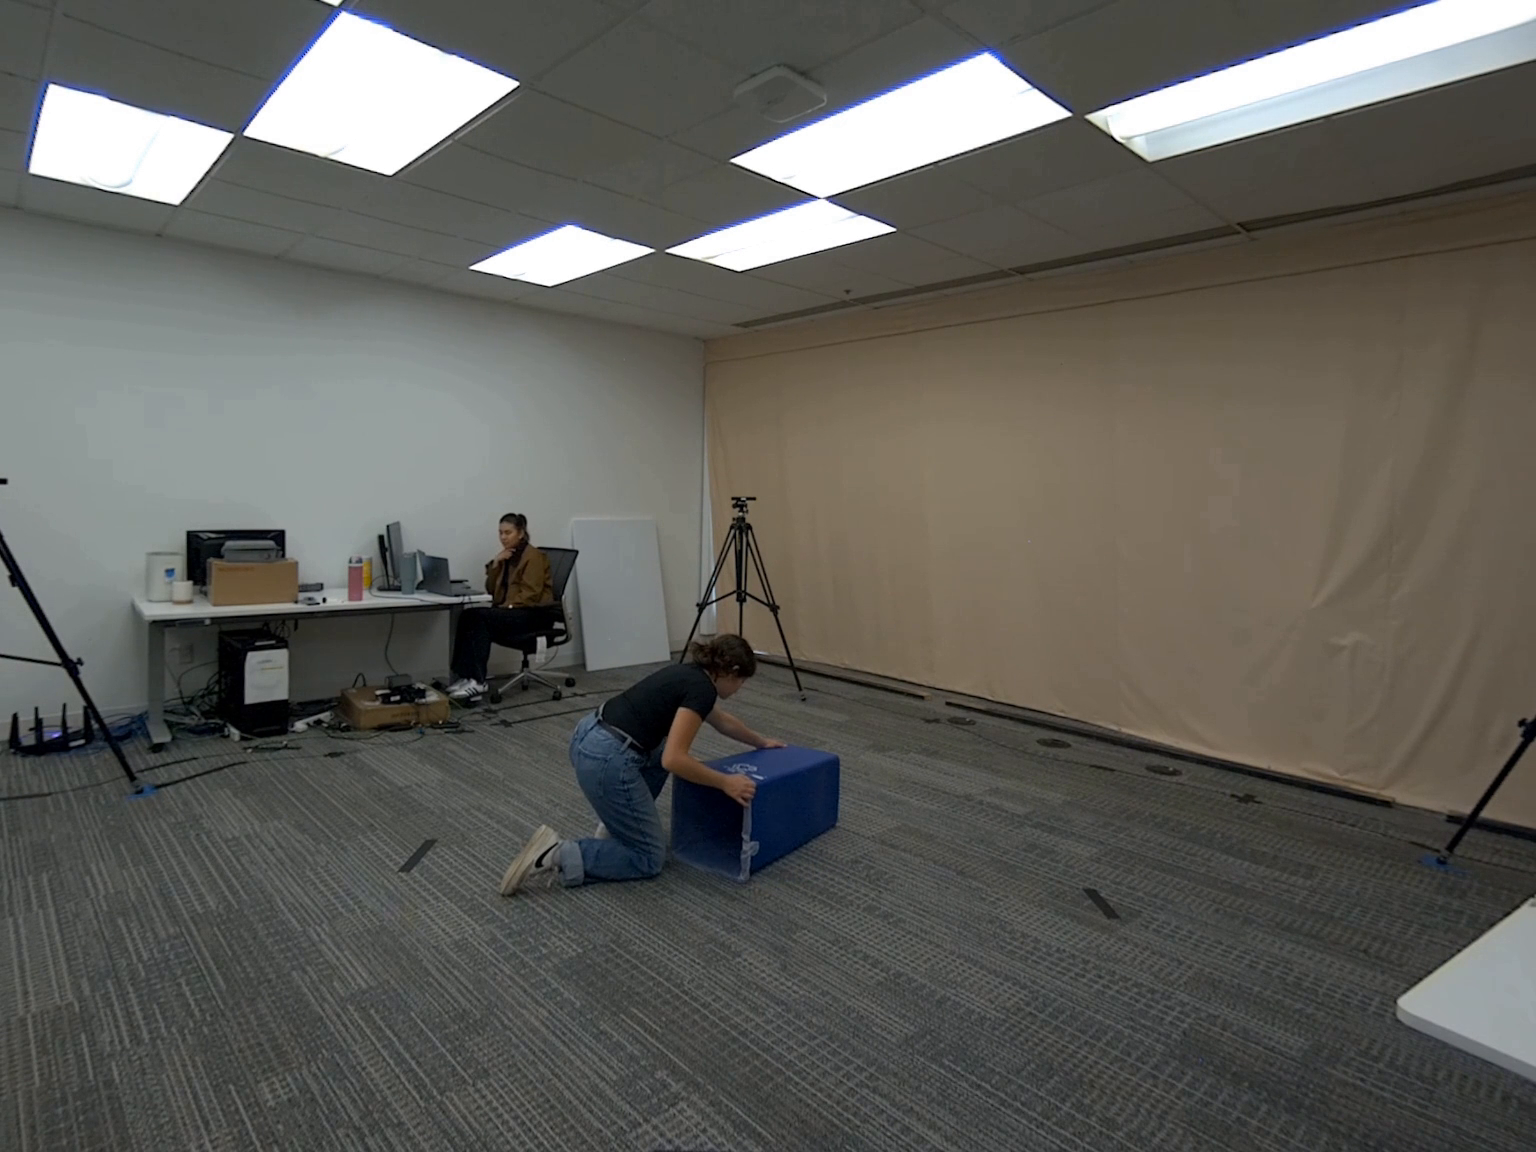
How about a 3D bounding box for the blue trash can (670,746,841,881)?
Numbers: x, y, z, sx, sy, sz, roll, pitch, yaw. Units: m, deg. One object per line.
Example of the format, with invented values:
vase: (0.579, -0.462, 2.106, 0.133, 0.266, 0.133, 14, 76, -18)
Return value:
blue trash can: (-0.032, 0.917, 3.416, 0.383, 0.378, 0.697, 3, 2, 35)
